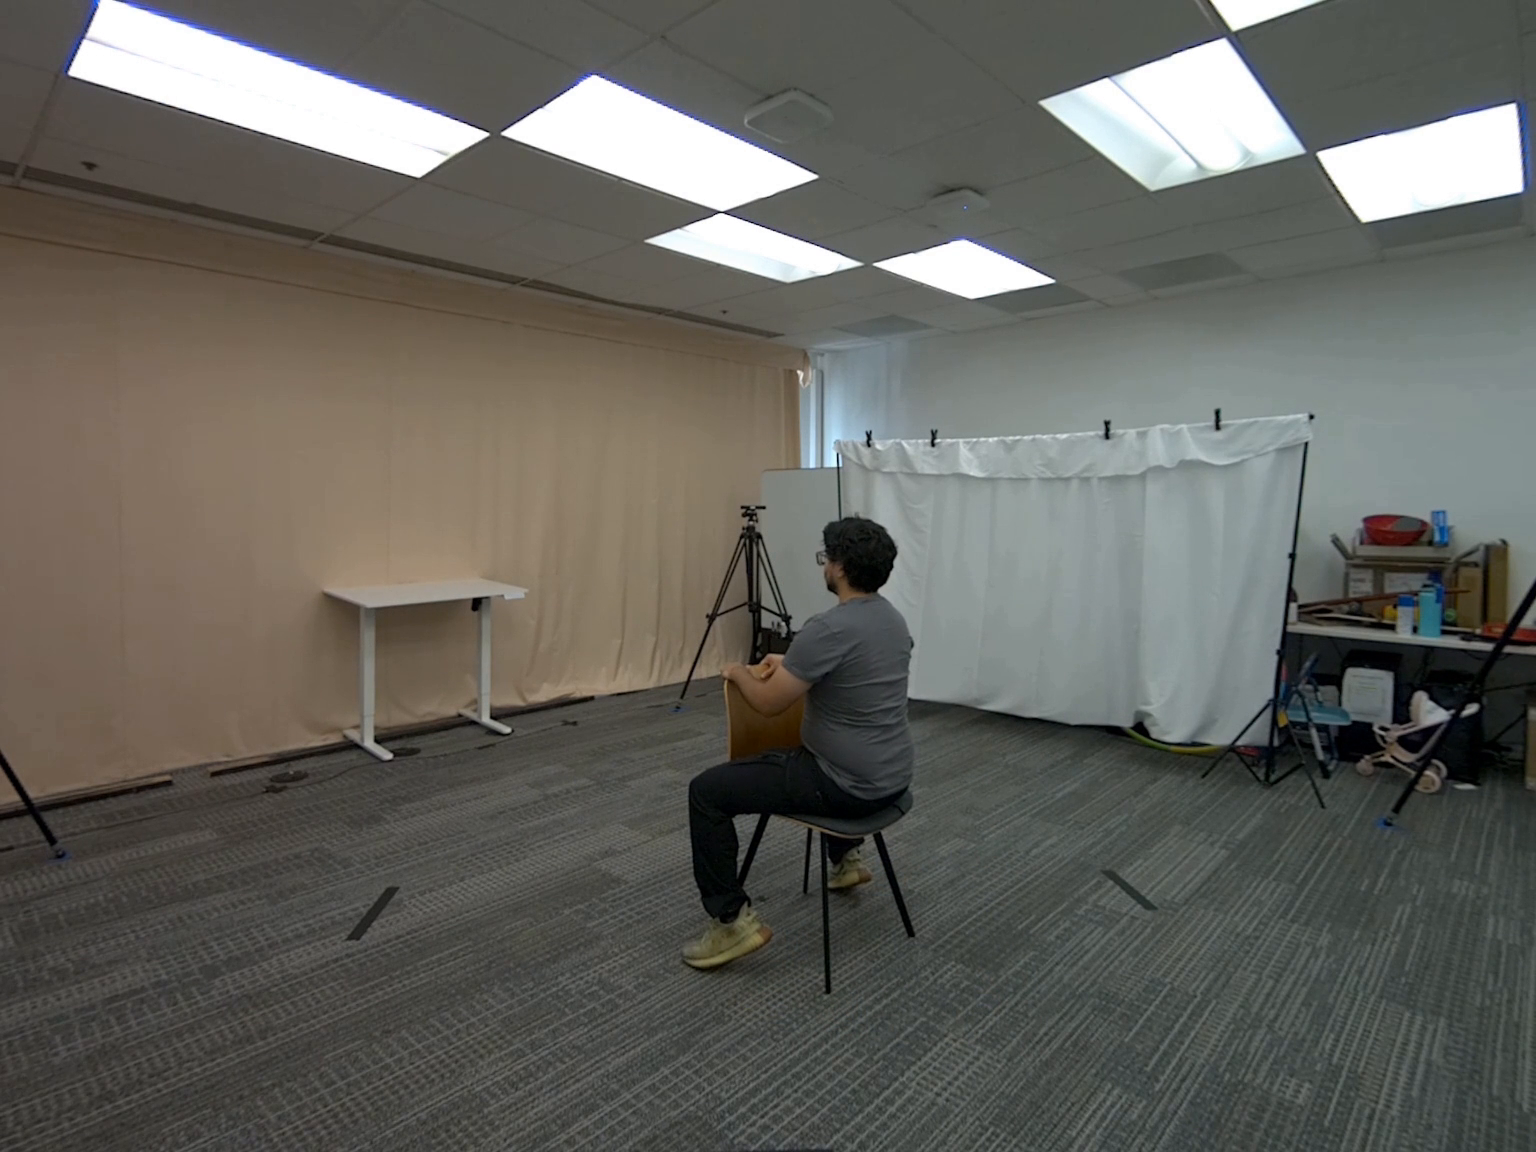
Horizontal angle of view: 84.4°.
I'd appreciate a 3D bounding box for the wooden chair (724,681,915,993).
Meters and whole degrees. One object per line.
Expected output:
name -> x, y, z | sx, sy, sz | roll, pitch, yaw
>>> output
wooden chair -> 0.167, 0.742, 2.686 | 0.539, 0.877, 0.463 | -3, 0, 44
